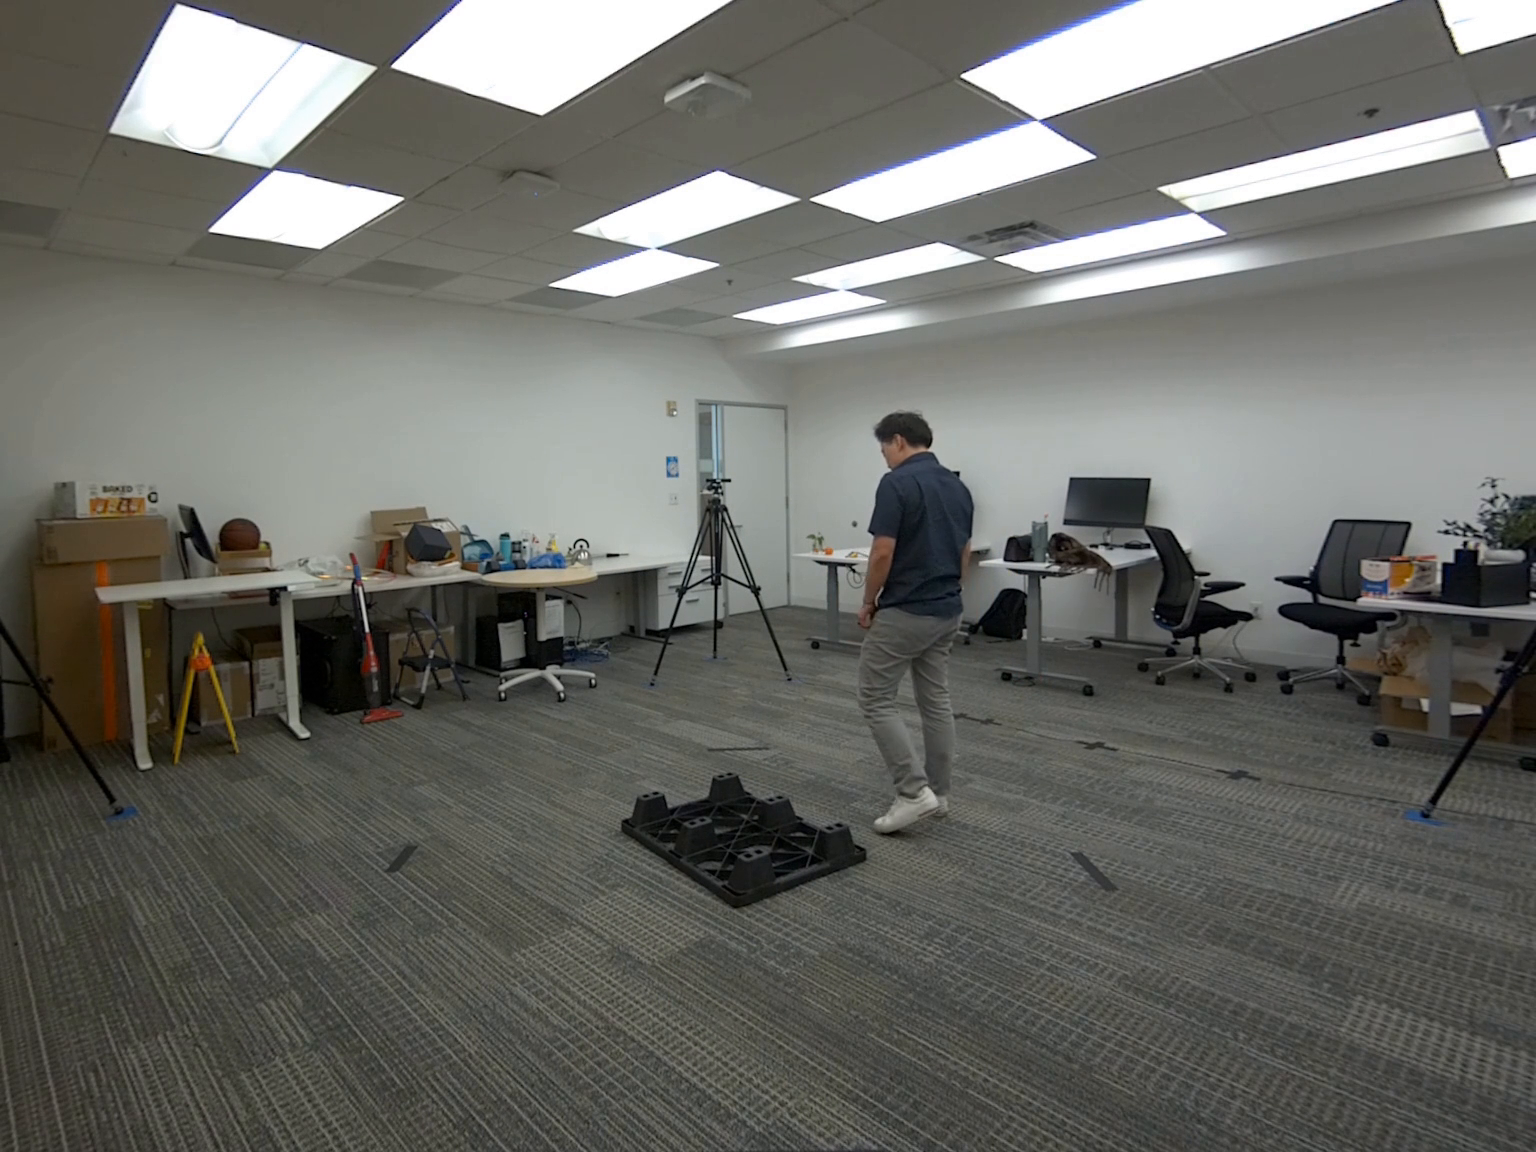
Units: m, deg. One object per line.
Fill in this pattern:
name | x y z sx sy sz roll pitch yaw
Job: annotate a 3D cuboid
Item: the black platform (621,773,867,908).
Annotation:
black platform | -0.108 0.962 3.264 0.590 0.142 0.830 -6 9 -37
